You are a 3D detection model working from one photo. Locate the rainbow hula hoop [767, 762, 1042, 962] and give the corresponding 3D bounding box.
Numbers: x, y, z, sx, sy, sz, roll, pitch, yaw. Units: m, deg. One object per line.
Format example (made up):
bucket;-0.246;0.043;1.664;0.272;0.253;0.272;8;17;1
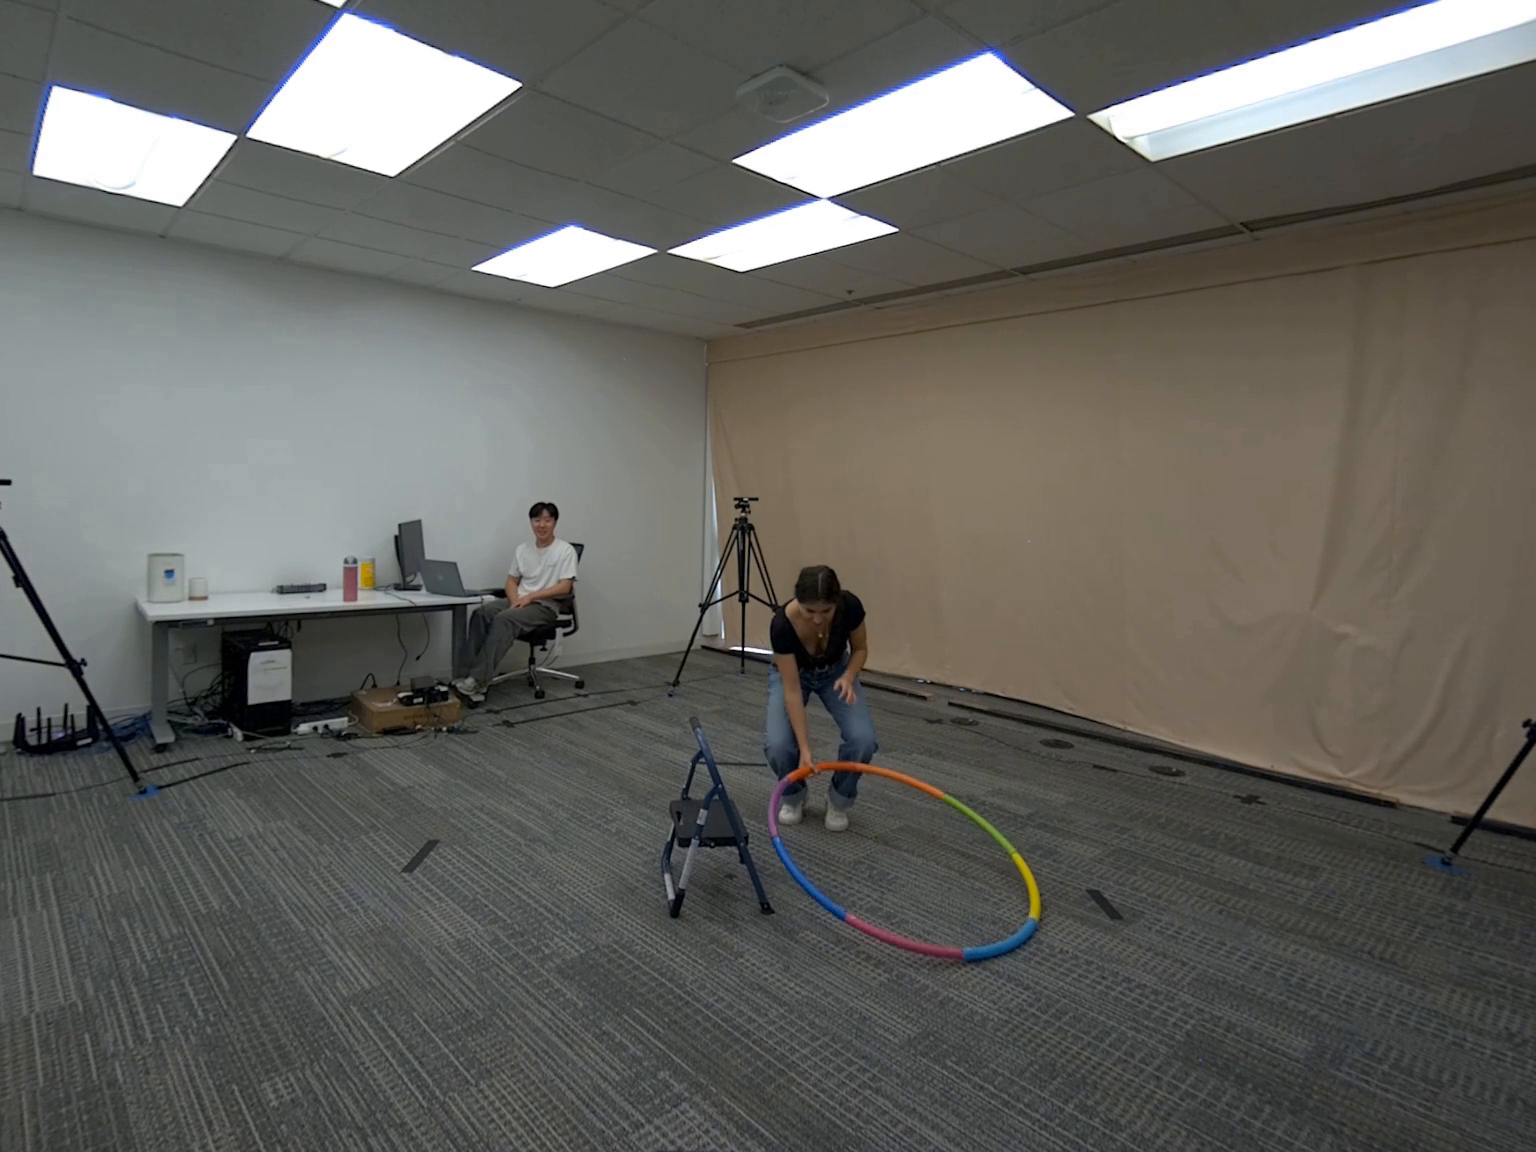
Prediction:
rainbow hula hoop;0.470;0.963;2.986;0.974;0.035;0.992;13;19;-6
